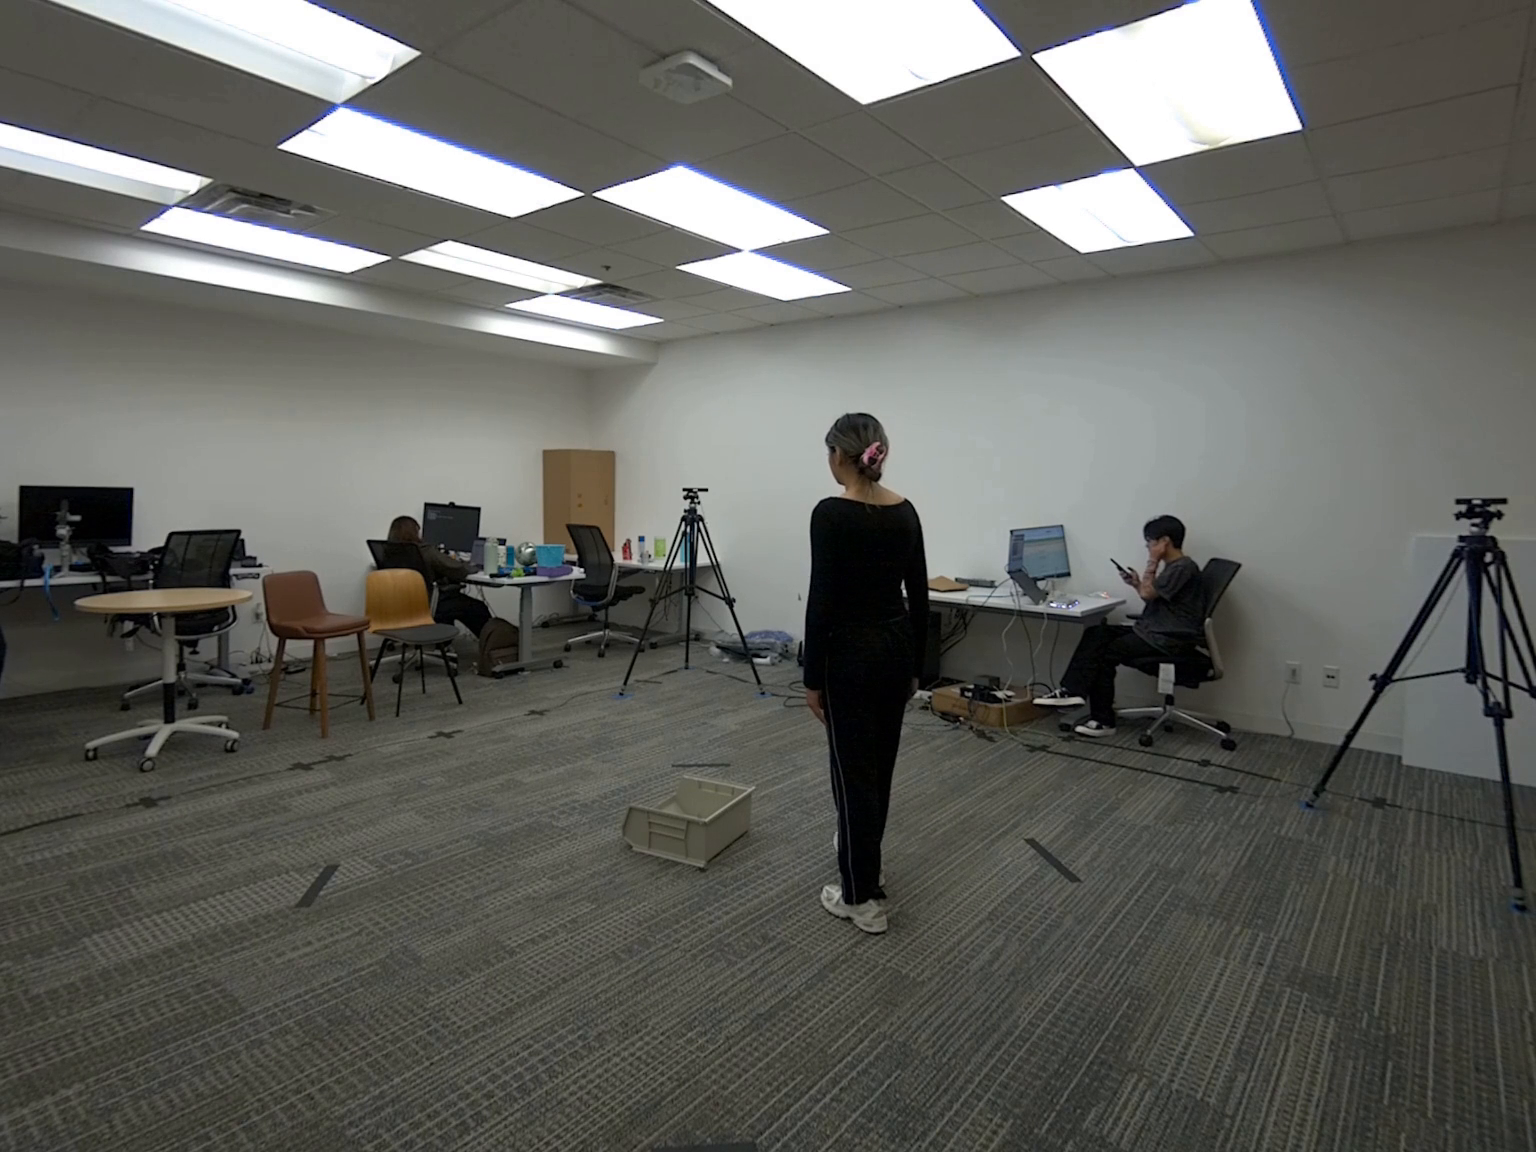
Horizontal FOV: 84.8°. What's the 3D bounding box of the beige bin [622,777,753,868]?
[{"bbox_3d":[-0.319,0.955,3.376,0.388,0.188,0.412,4,5,26],"label":"beige bin"}]
